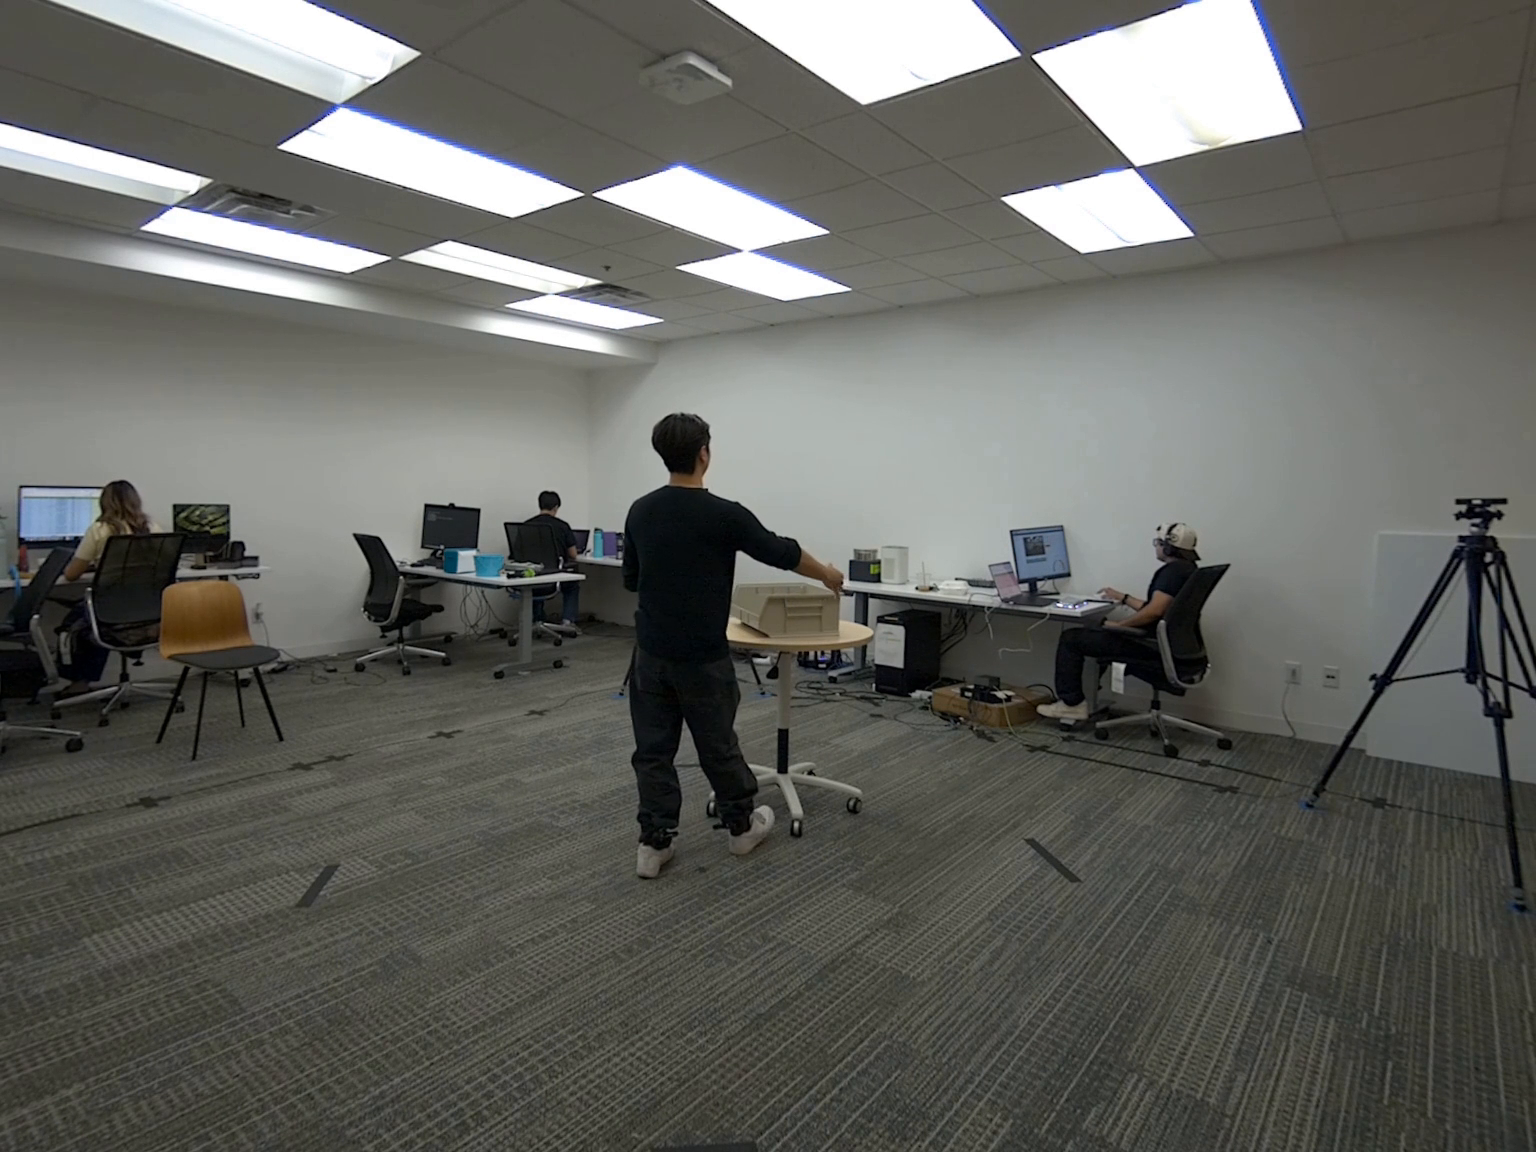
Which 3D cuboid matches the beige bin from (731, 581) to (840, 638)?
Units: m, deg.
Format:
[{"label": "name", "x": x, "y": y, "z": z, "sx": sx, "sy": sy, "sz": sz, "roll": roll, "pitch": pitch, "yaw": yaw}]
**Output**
[{"label": "beige bin", "x": 0.063, "y": 0.141, "z": 3.735, "sx": 0.370, "sy": 0.188, "sz": 0.432, "roll": 0, "pitch": 6, "yaw": -19}]
